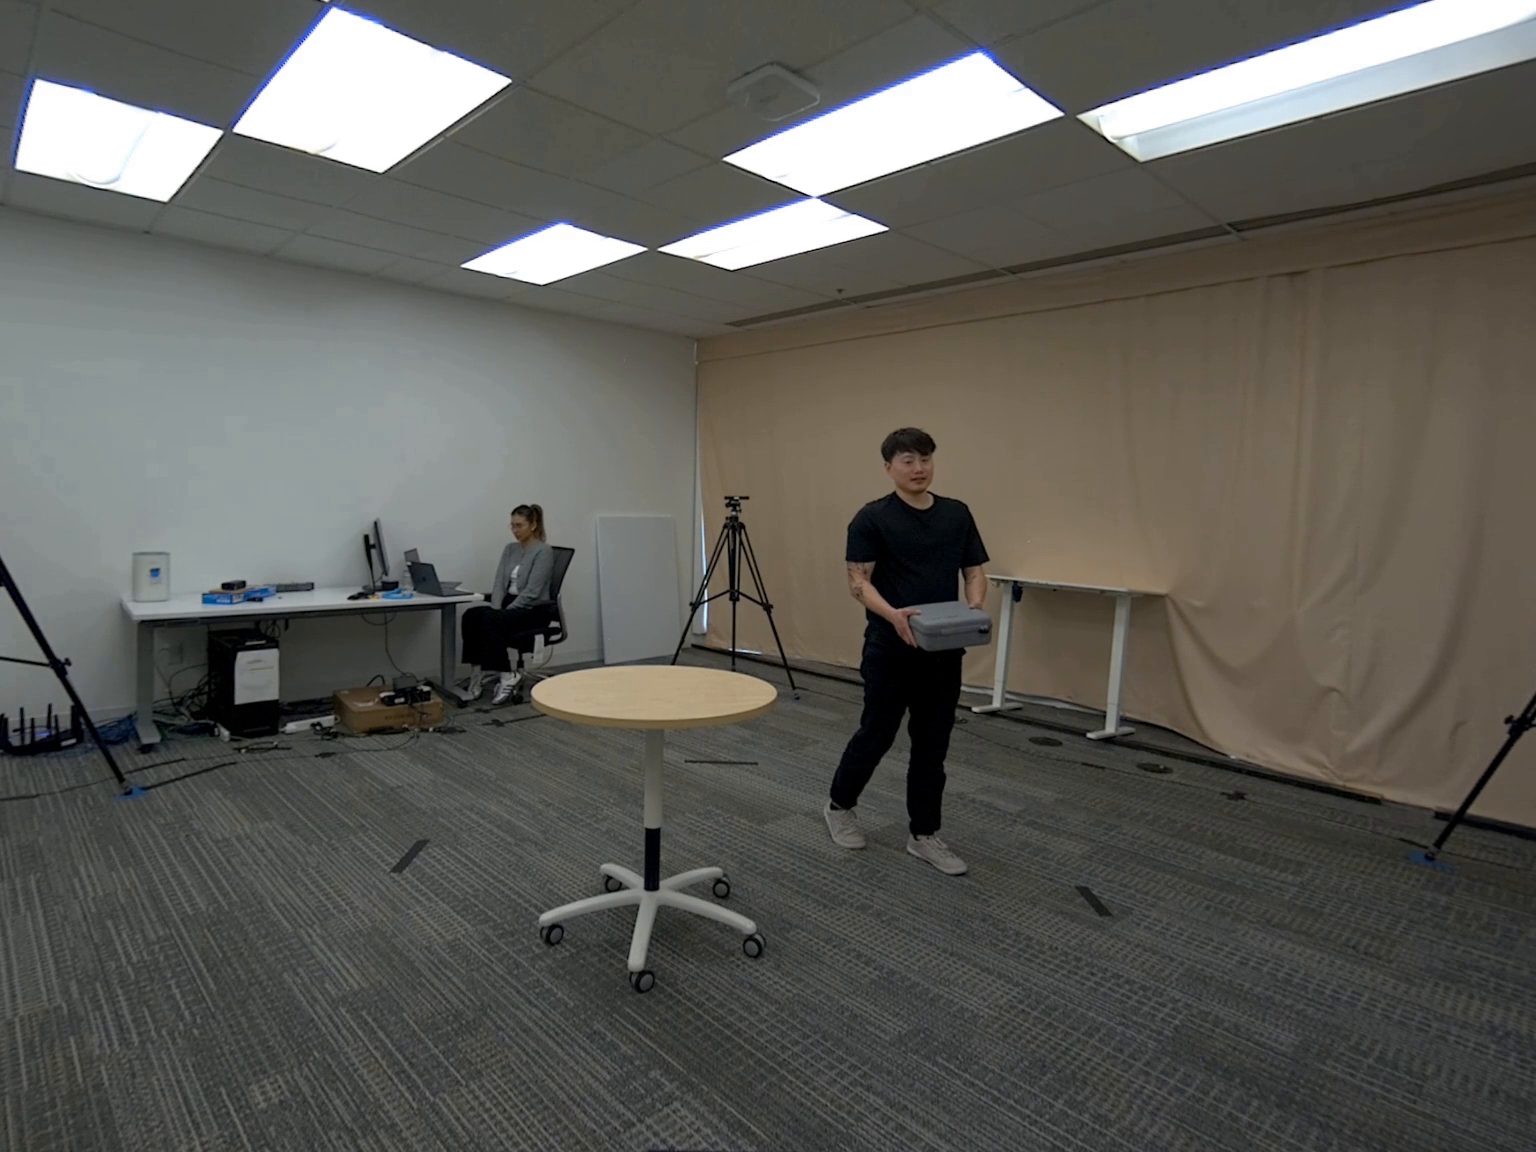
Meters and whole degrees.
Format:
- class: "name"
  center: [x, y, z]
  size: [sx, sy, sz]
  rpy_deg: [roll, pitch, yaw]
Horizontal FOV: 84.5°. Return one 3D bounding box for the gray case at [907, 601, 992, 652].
- class: "gray case"
  center: [0.610, 0.175, 2.965]
  size: [0.255, 0.103, 0.264]
  rpy_deg: [-7, 11, -10]
